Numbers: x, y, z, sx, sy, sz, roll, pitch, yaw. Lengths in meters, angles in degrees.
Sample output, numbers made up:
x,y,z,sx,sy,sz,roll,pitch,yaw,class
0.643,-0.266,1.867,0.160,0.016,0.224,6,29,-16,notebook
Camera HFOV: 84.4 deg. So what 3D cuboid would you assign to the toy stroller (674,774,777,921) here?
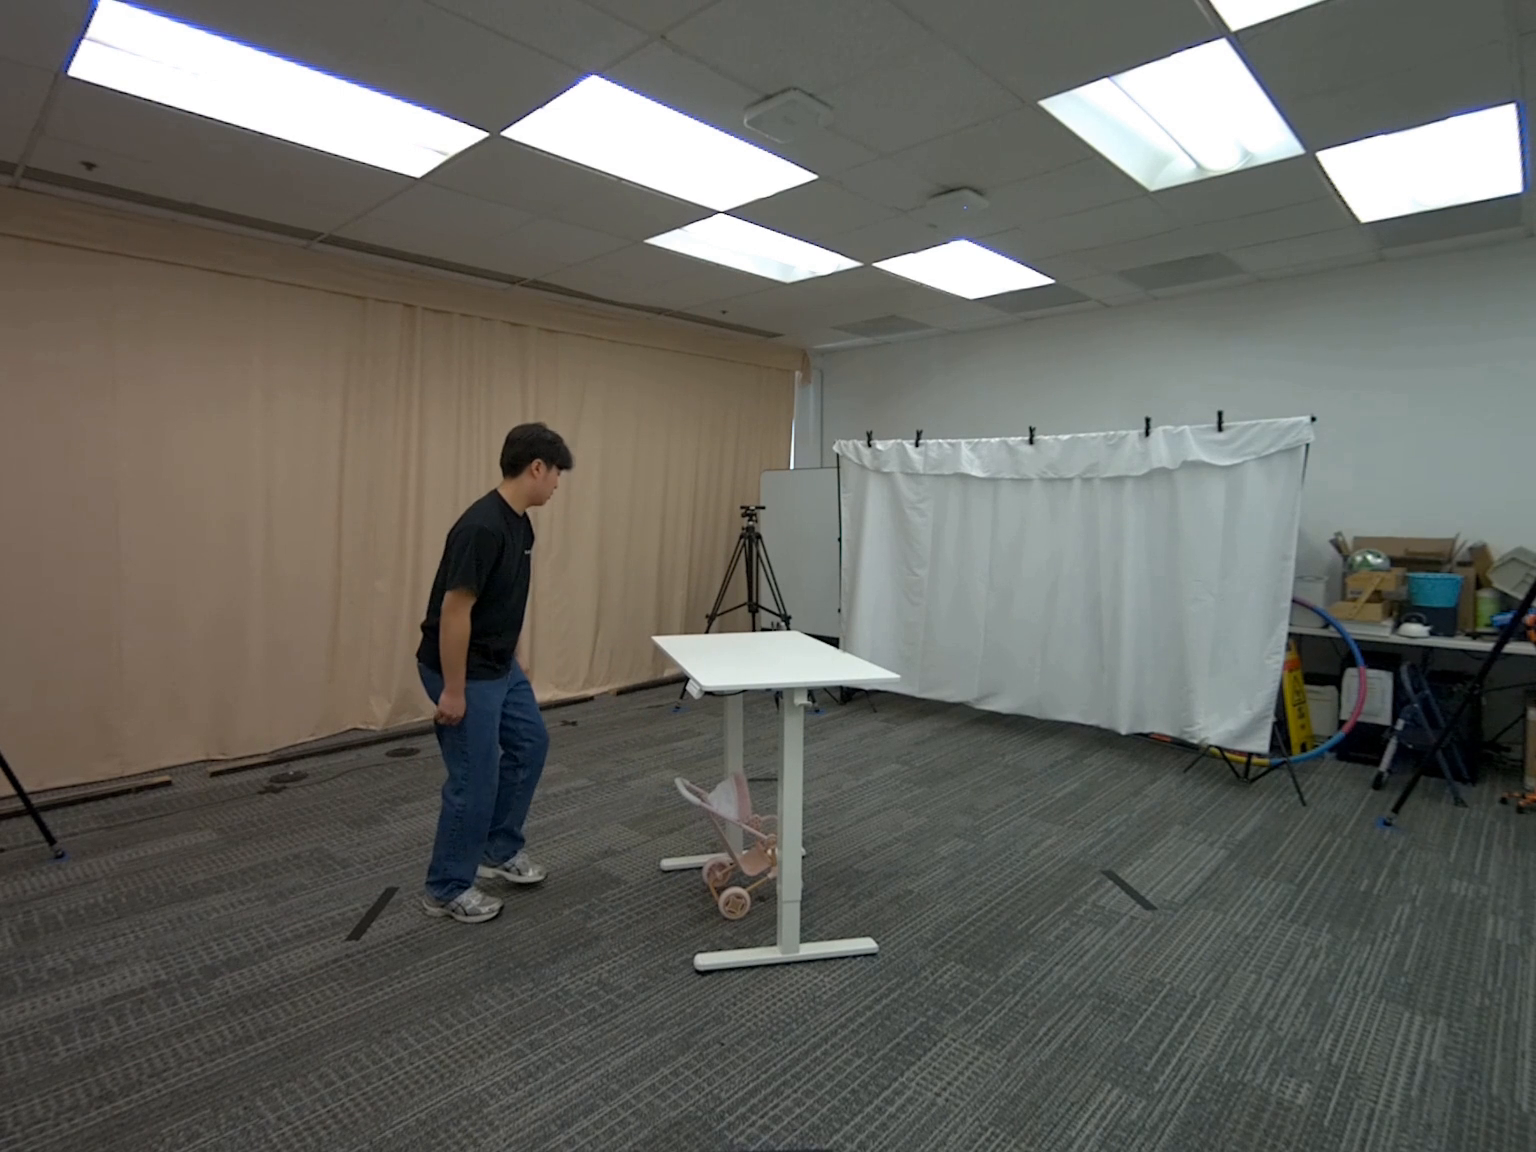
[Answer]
x,y,z,sx,sy,sz,roll,pitch,yaw,class
-0.083,0.922,2.955,0.339,0.532,0.285,-16,6,-9,toy stroller
